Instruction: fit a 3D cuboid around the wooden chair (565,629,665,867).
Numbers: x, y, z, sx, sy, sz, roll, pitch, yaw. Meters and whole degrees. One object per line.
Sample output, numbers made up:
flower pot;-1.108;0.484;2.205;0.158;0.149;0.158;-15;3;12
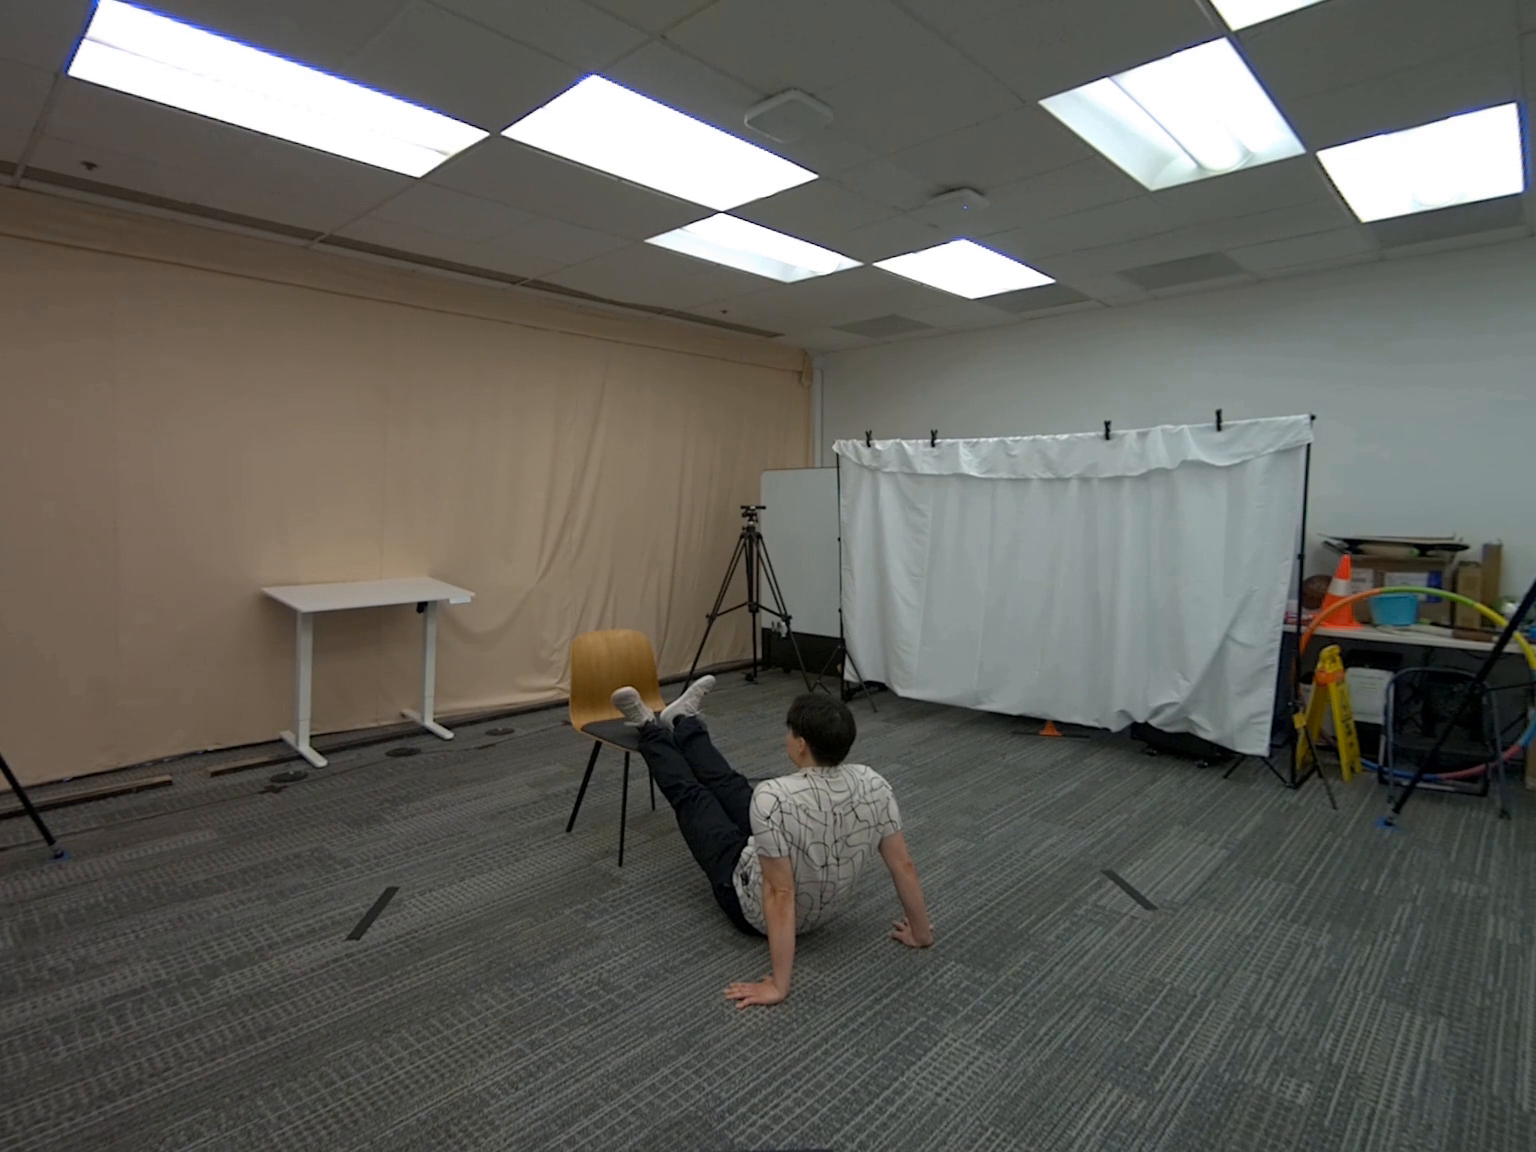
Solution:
wooden chair;-0.547;0.674;3.534;0.464;0.878;0.539;-2;-1;-39
